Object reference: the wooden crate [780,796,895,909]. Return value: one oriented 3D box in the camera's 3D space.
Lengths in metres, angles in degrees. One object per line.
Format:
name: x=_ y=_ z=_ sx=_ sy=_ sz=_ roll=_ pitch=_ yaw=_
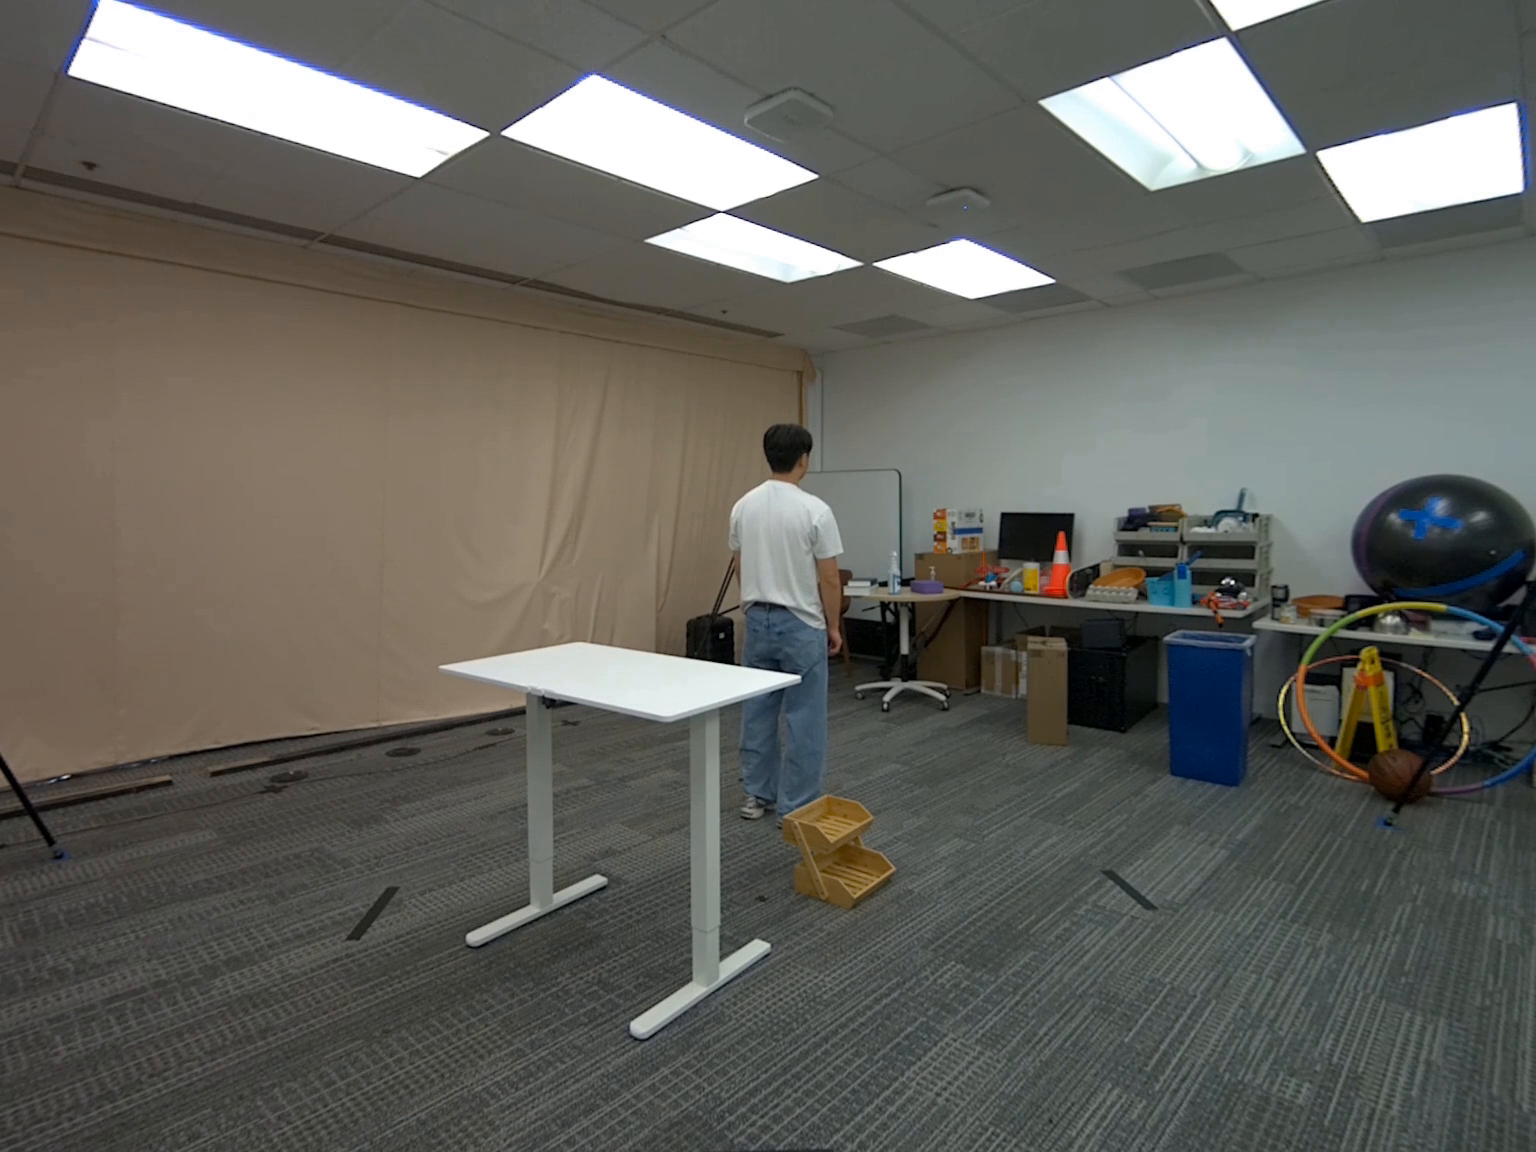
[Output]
wooden crate: x=0.265 y=0.995 z=3.091 sx=0.312 sy=0.273 sz=0.315 roll=2 pitch=5 yaw=37
